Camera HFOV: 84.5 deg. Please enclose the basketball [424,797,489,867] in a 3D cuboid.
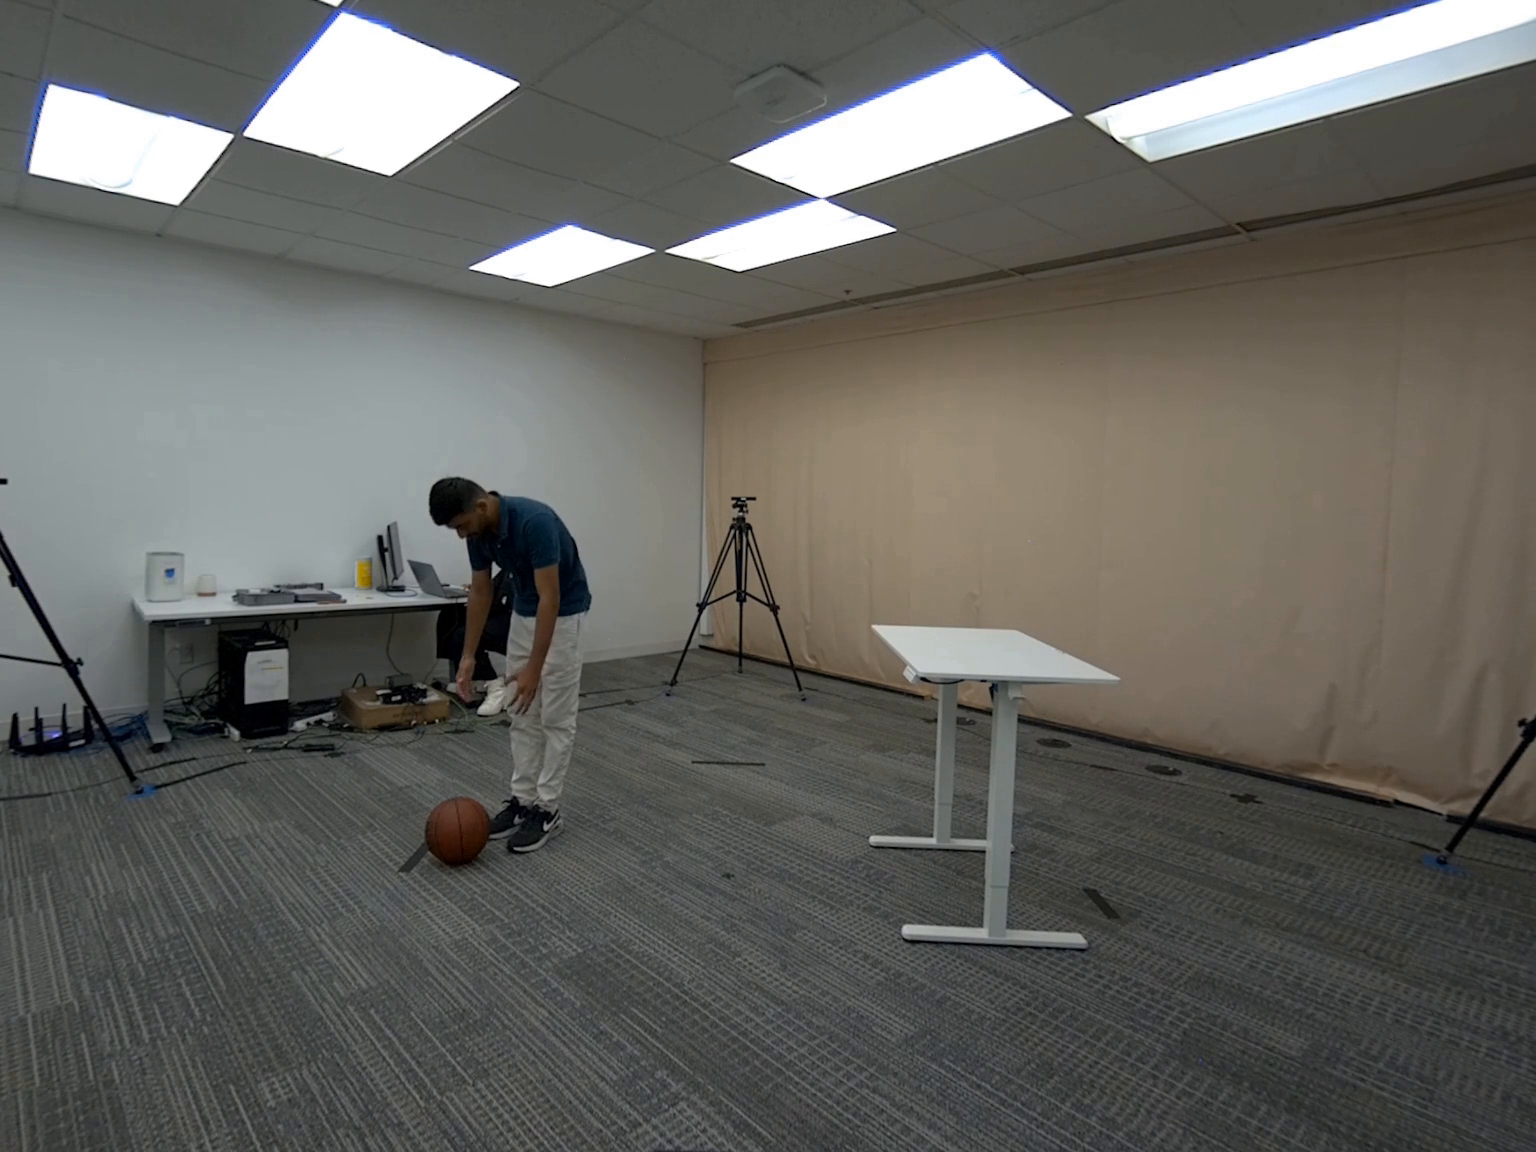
[{"bbox_3d":[-1.183,0.961,3.174,0.236,0.235,0.237,1,4,-1],"label":"basketball"}]
